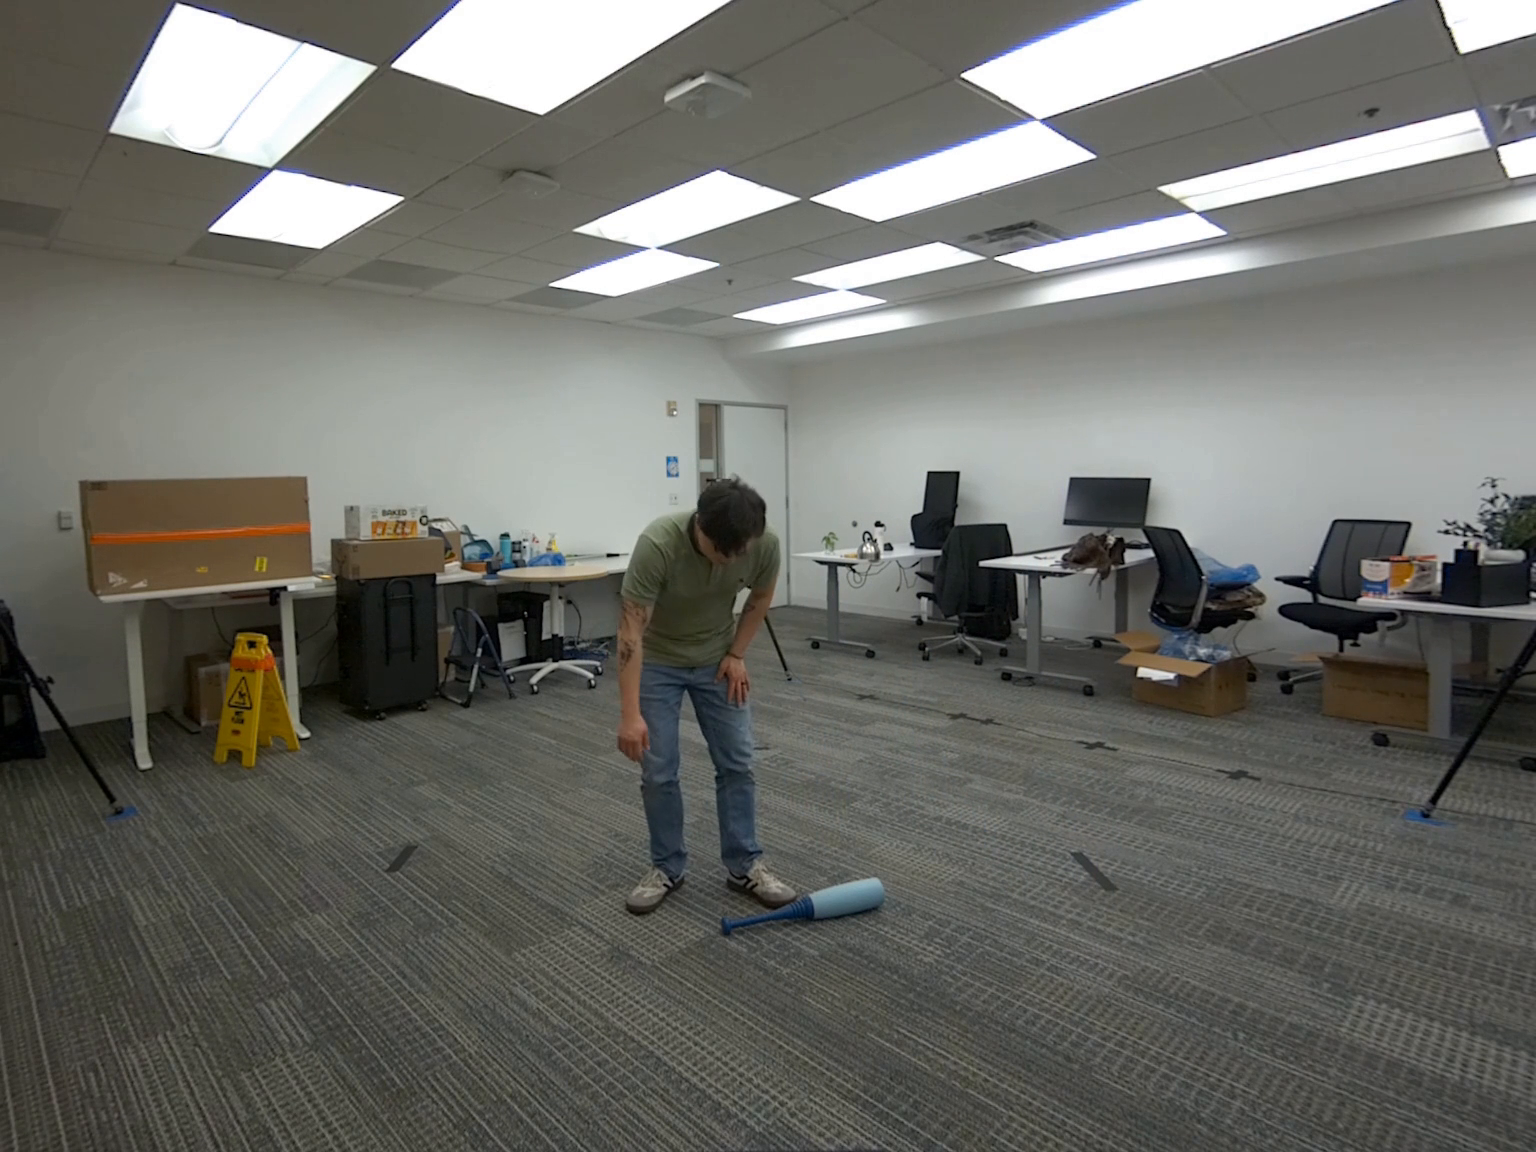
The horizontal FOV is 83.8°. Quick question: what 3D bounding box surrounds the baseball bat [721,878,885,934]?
[{"bbox_3d":[0.121,1.054,2.696,0.535,0.088,0.091,-5,6,-16],"label":"baseball bat"}]
